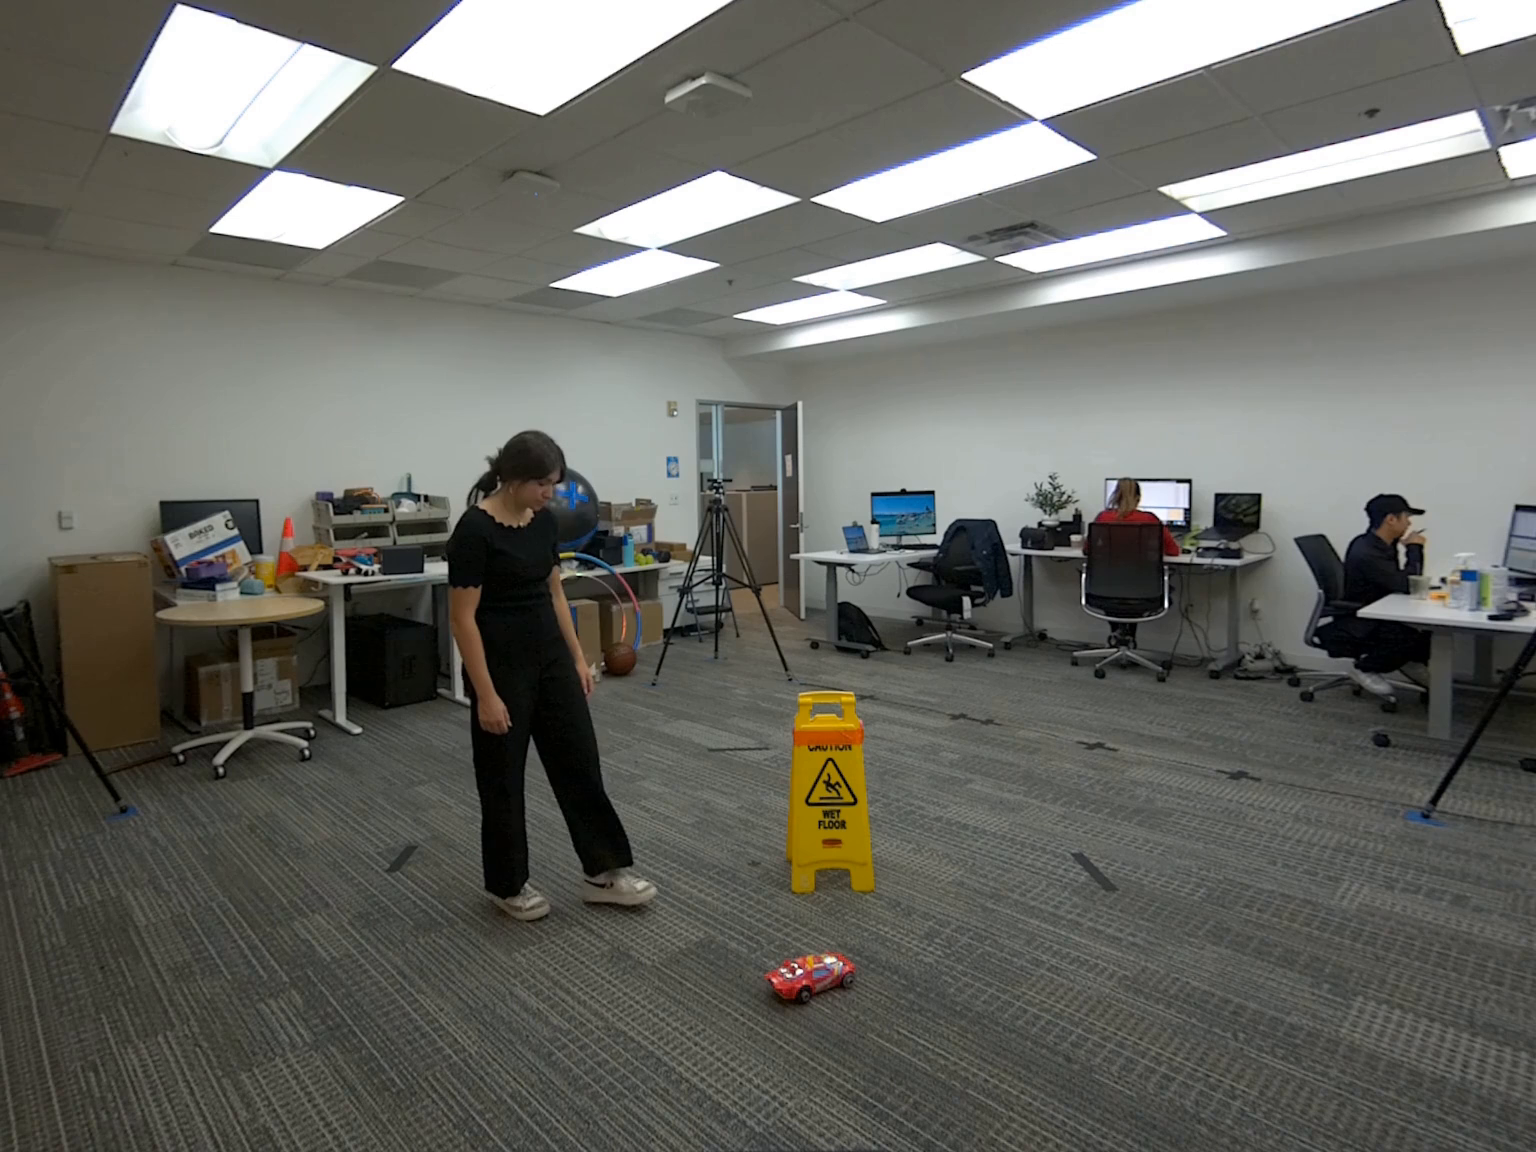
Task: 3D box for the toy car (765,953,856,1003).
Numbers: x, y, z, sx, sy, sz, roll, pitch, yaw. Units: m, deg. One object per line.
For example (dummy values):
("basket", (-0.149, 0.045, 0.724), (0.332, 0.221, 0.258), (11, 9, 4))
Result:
("toy car", (0.118, 1.099, 2.339), (0.248, 0.083, 0.134), (8, 0, -27))
